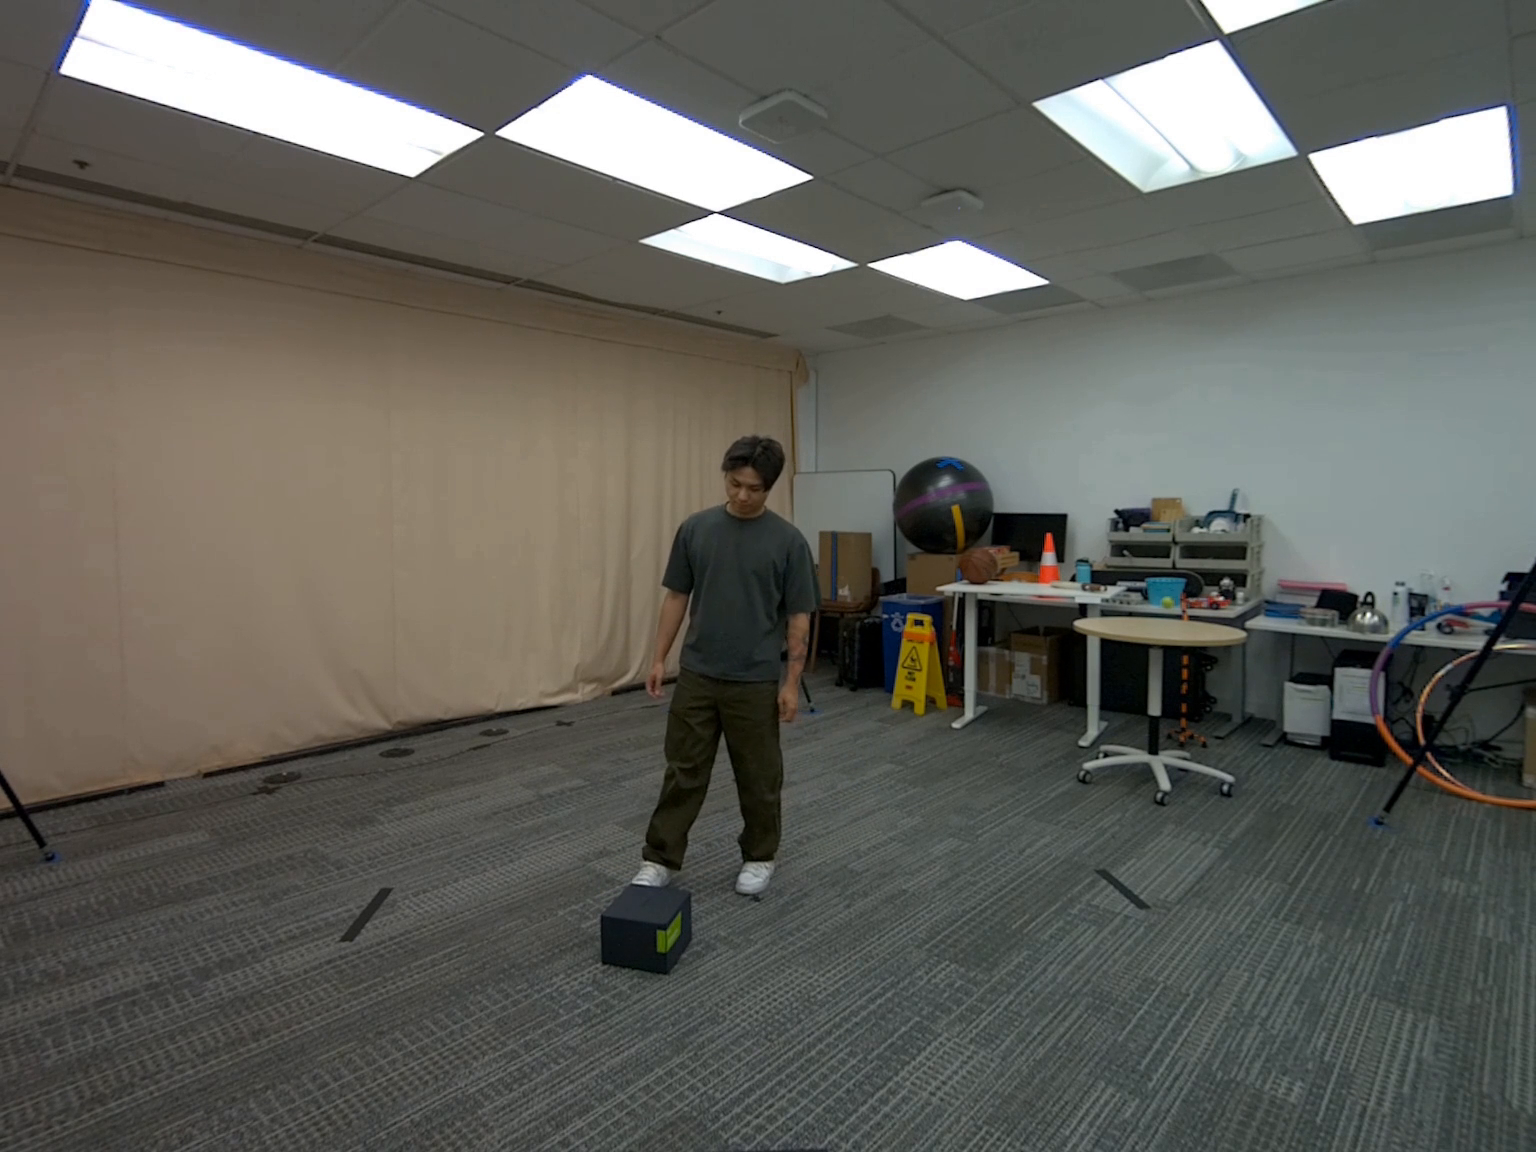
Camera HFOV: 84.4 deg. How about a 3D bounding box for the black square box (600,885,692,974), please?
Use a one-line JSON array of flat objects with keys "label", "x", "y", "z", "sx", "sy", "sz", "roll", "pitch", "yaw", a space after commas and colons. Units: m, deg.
[{"label": "black square box", "x": -0.374, "y": 1.087, "z": 2.627, "sx": 0.221, "sy": 0.155, "sz": 0.224, "roll": 1, "pitch": 4, "yaw": 16}]
